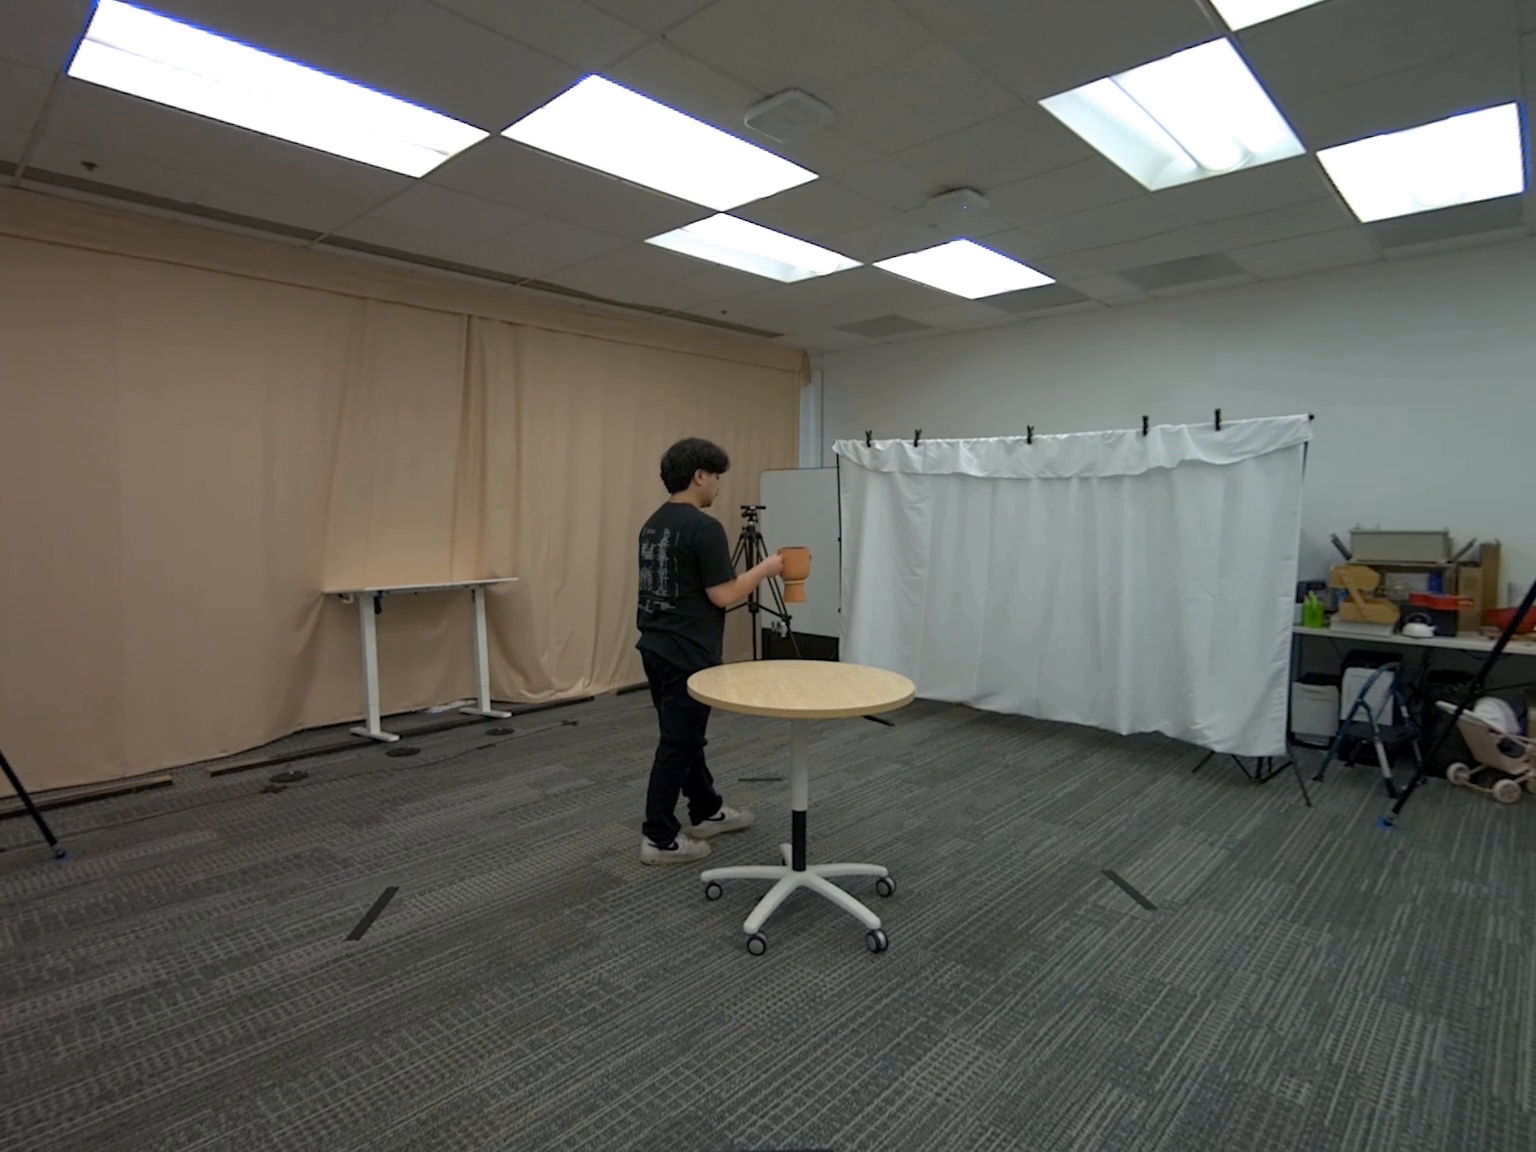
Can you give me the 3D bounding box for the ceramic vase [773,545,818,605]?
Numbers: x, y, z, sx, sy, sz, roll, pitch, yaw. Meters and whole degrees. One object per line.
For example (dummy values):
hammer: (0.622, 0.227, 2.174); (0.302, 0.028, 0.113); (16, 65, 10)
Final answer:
ceramic vase: (0.110, -0.009, 3.467); (0.158, 0.219, 0.135); (-2, 5, -3)
